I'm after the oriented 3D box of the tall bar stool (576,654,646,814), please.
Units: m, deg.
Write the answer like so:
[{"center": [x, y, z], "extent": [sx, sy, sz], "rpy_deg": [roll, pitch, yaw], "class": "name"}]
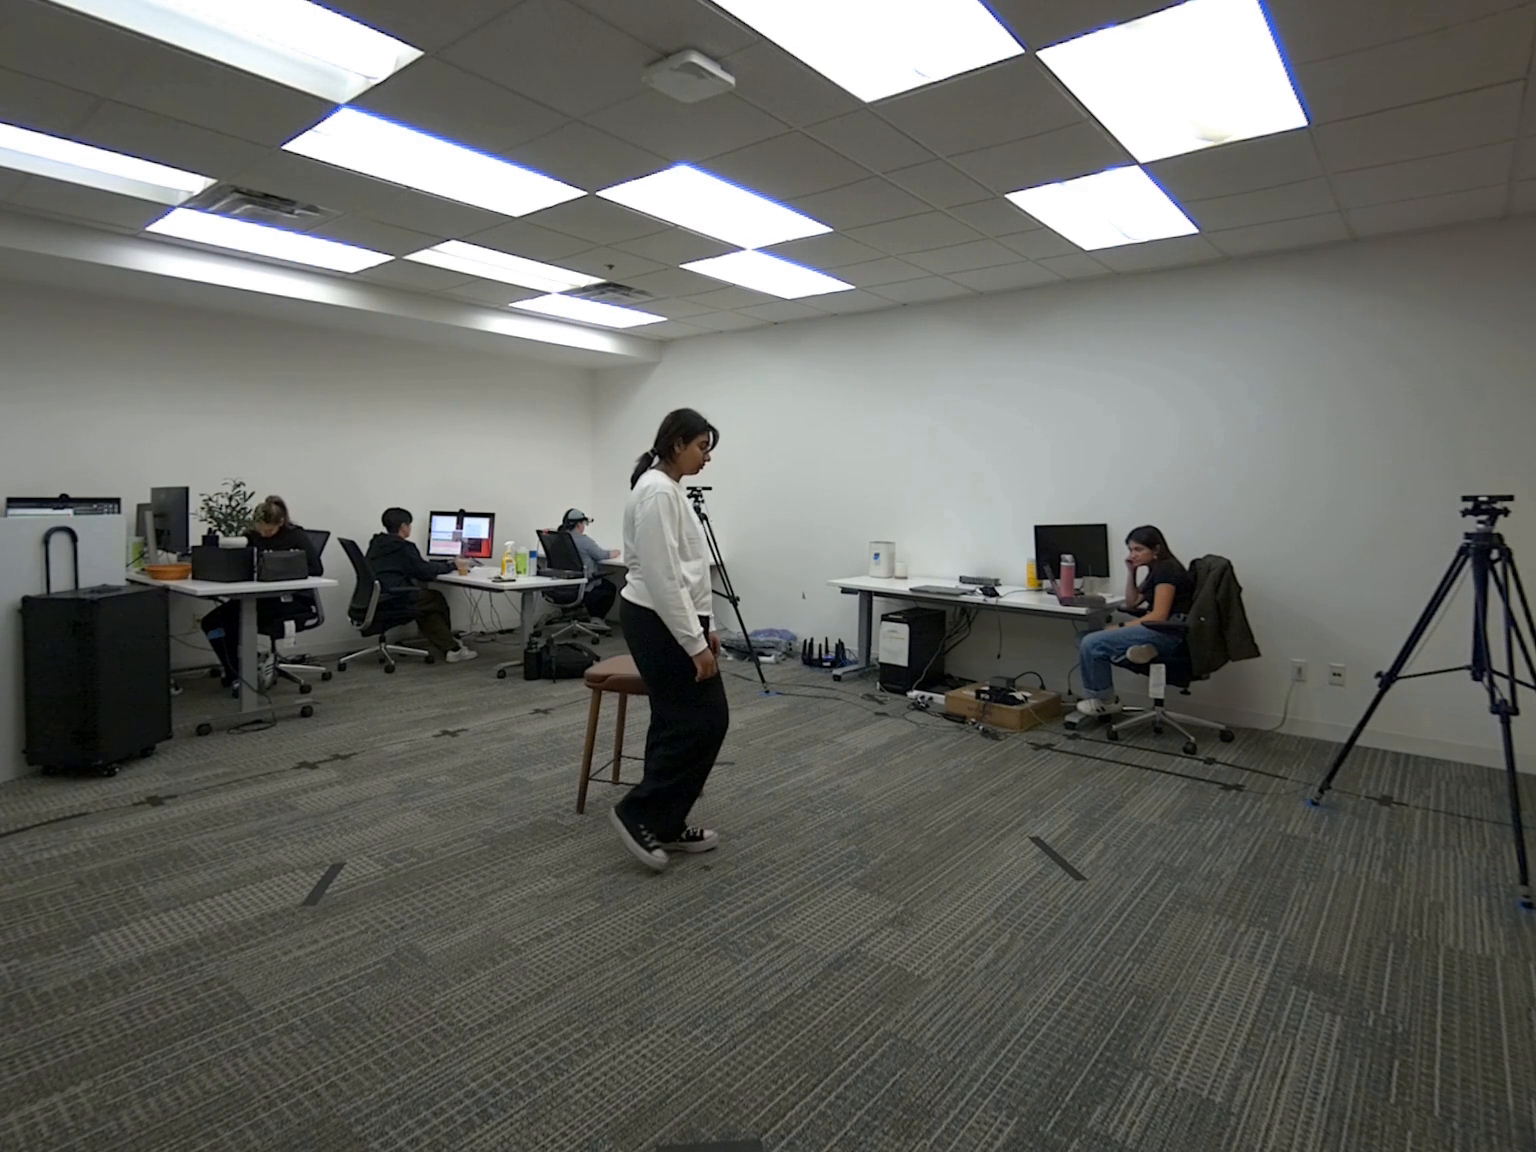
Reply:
[{"center": [-0.539, 0.564, 3.719], "extent": [0.476, 0.887, 0.450], "rpy_deg": [4, 4, 16], "class": "tall bar stool"}]
